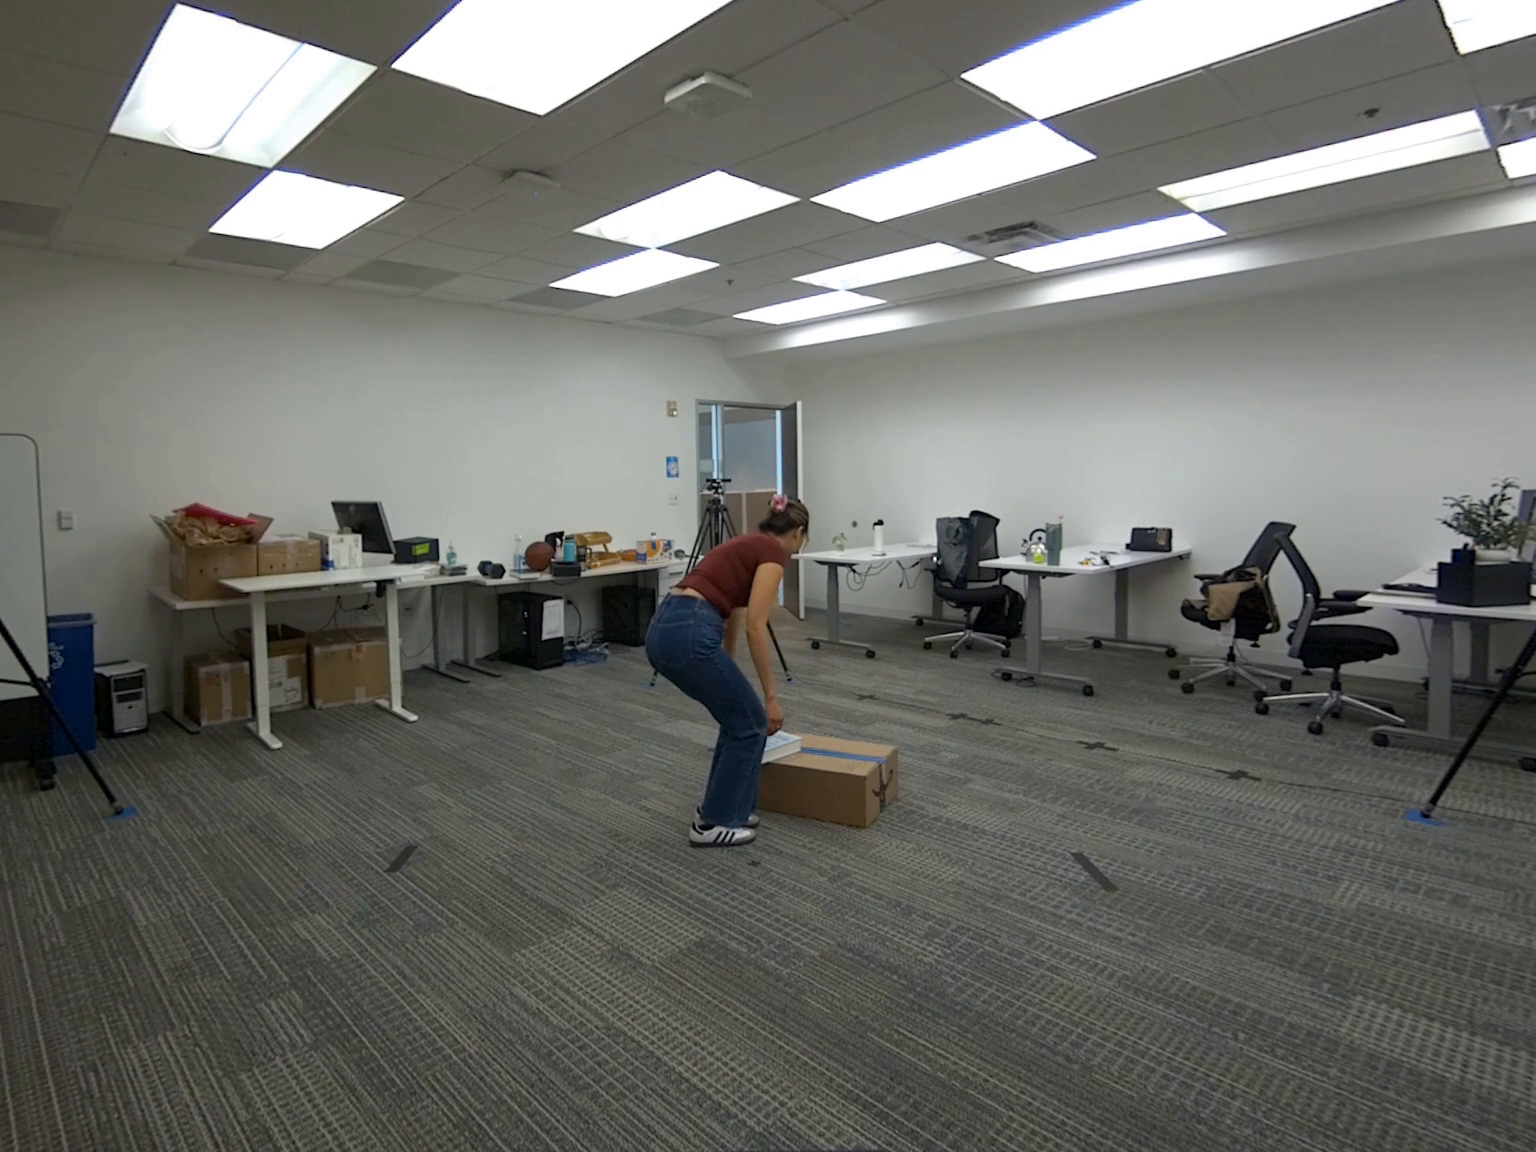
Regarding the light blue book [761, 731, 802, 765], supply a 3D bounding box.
[{"bbox_3d":[-0.009,0.732,3.692,0.197,0.059,0.254,6,10,45],"label":"light blue book"}]
